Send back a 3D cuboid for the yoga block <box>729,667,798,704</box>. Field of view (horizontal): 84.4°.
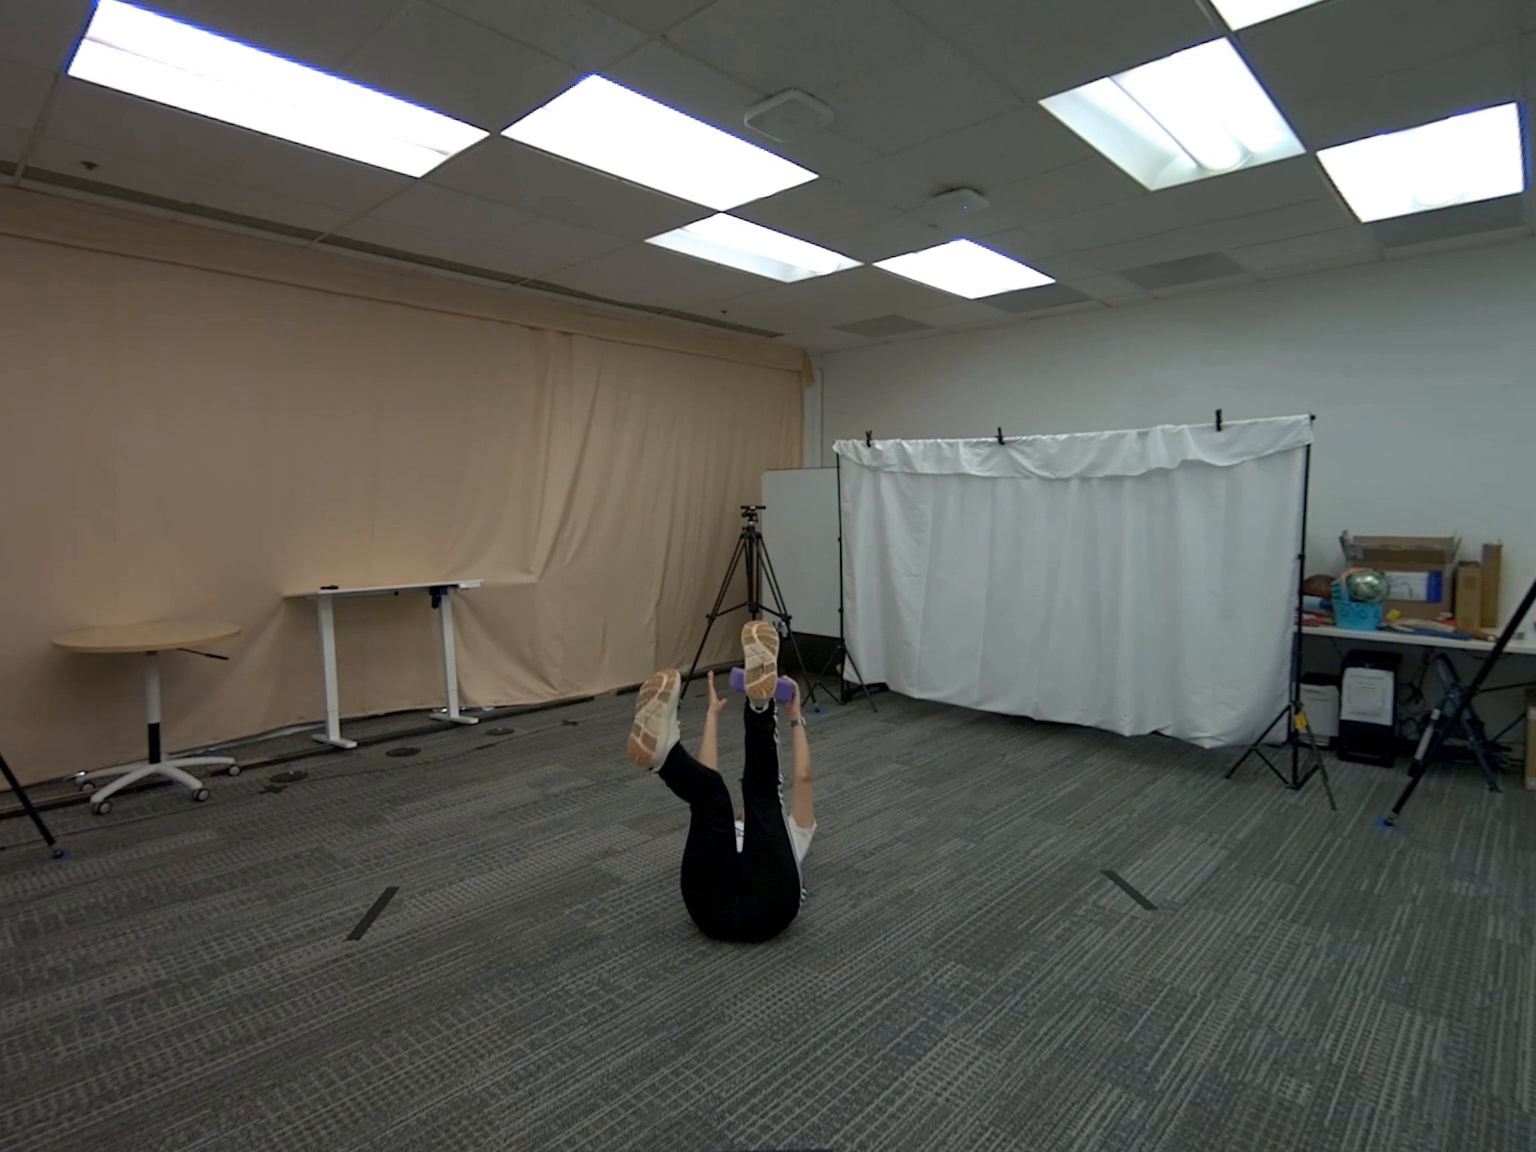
[{"bbox_3d":[-0.031,0.429,3.295,0.227,0.076,0.150,11,-2,-9],"label":"yoga block"}]
